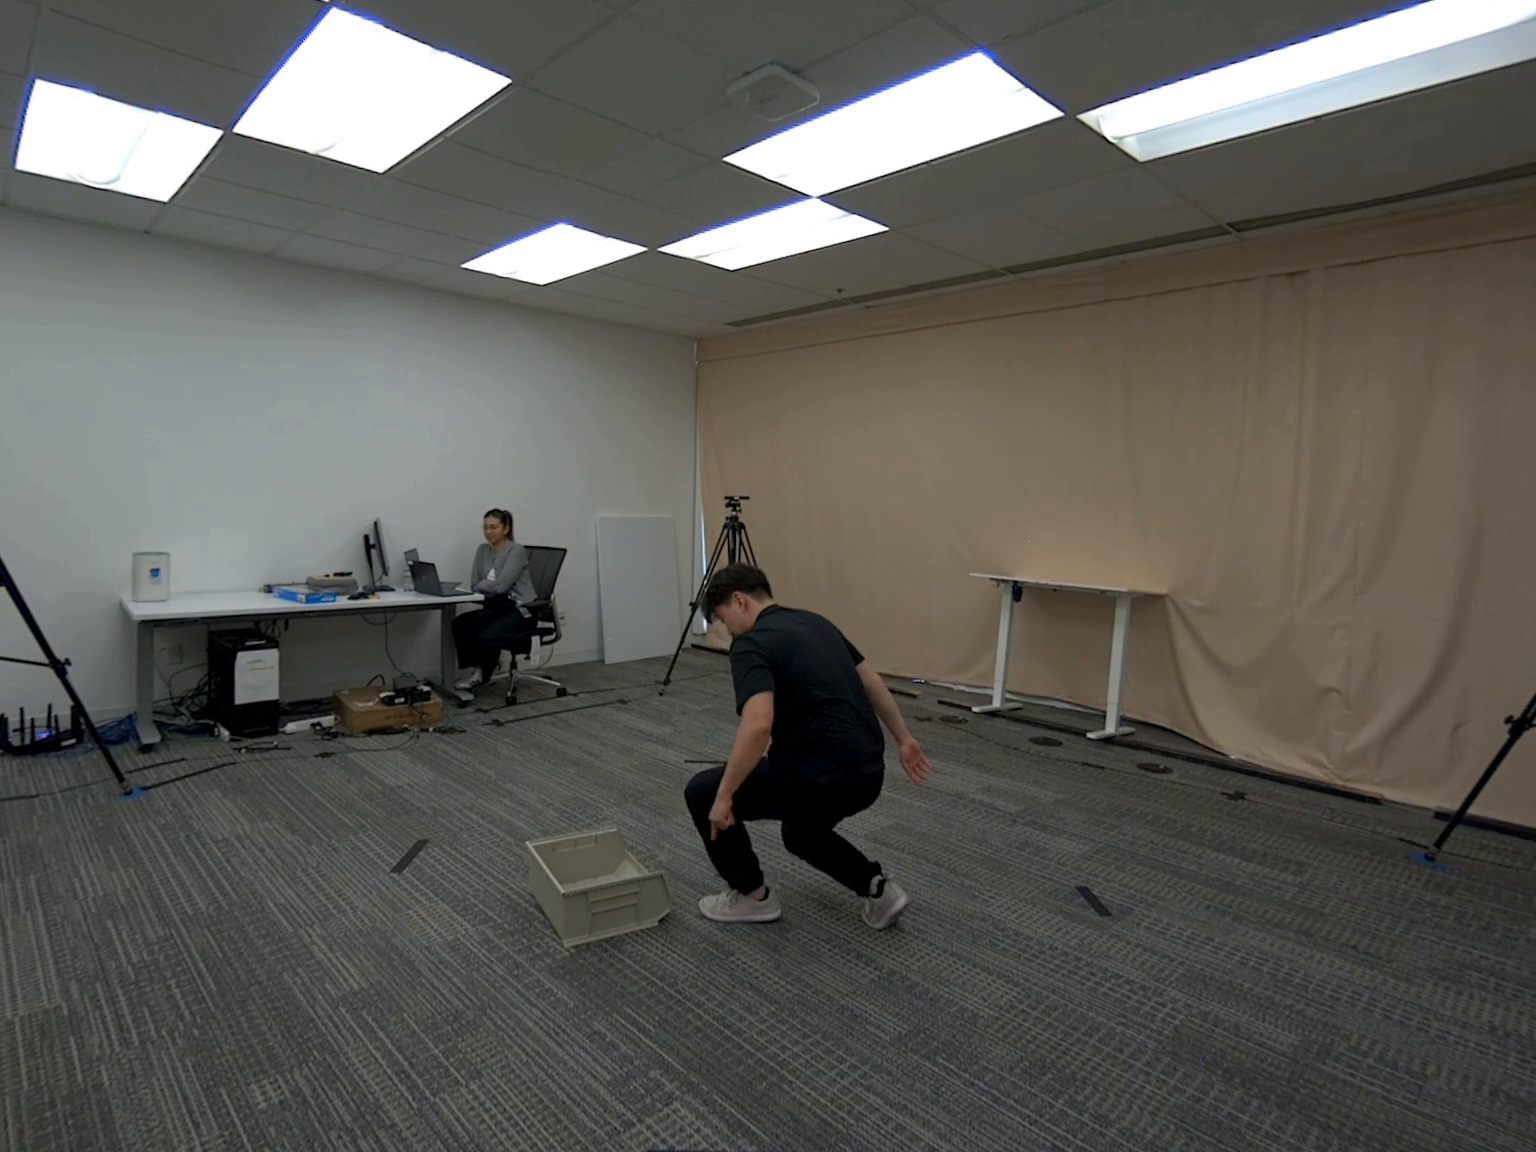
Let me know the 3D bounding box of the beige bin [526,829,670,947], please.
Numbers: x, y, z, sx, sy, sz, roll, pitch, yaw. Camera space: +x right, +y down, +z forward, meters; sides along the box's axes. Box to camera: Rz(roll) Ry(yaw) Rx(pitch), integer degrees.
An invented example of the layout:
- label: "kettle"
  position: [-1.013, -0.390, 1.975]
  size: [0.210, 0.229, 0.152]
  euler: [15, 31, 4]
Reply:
- label: "beige bin"
  position: [-0.577, 1.027, 2.839]
  size: [0.370, 0.188, 0.432]
  euler: [-2, 7, -30]
